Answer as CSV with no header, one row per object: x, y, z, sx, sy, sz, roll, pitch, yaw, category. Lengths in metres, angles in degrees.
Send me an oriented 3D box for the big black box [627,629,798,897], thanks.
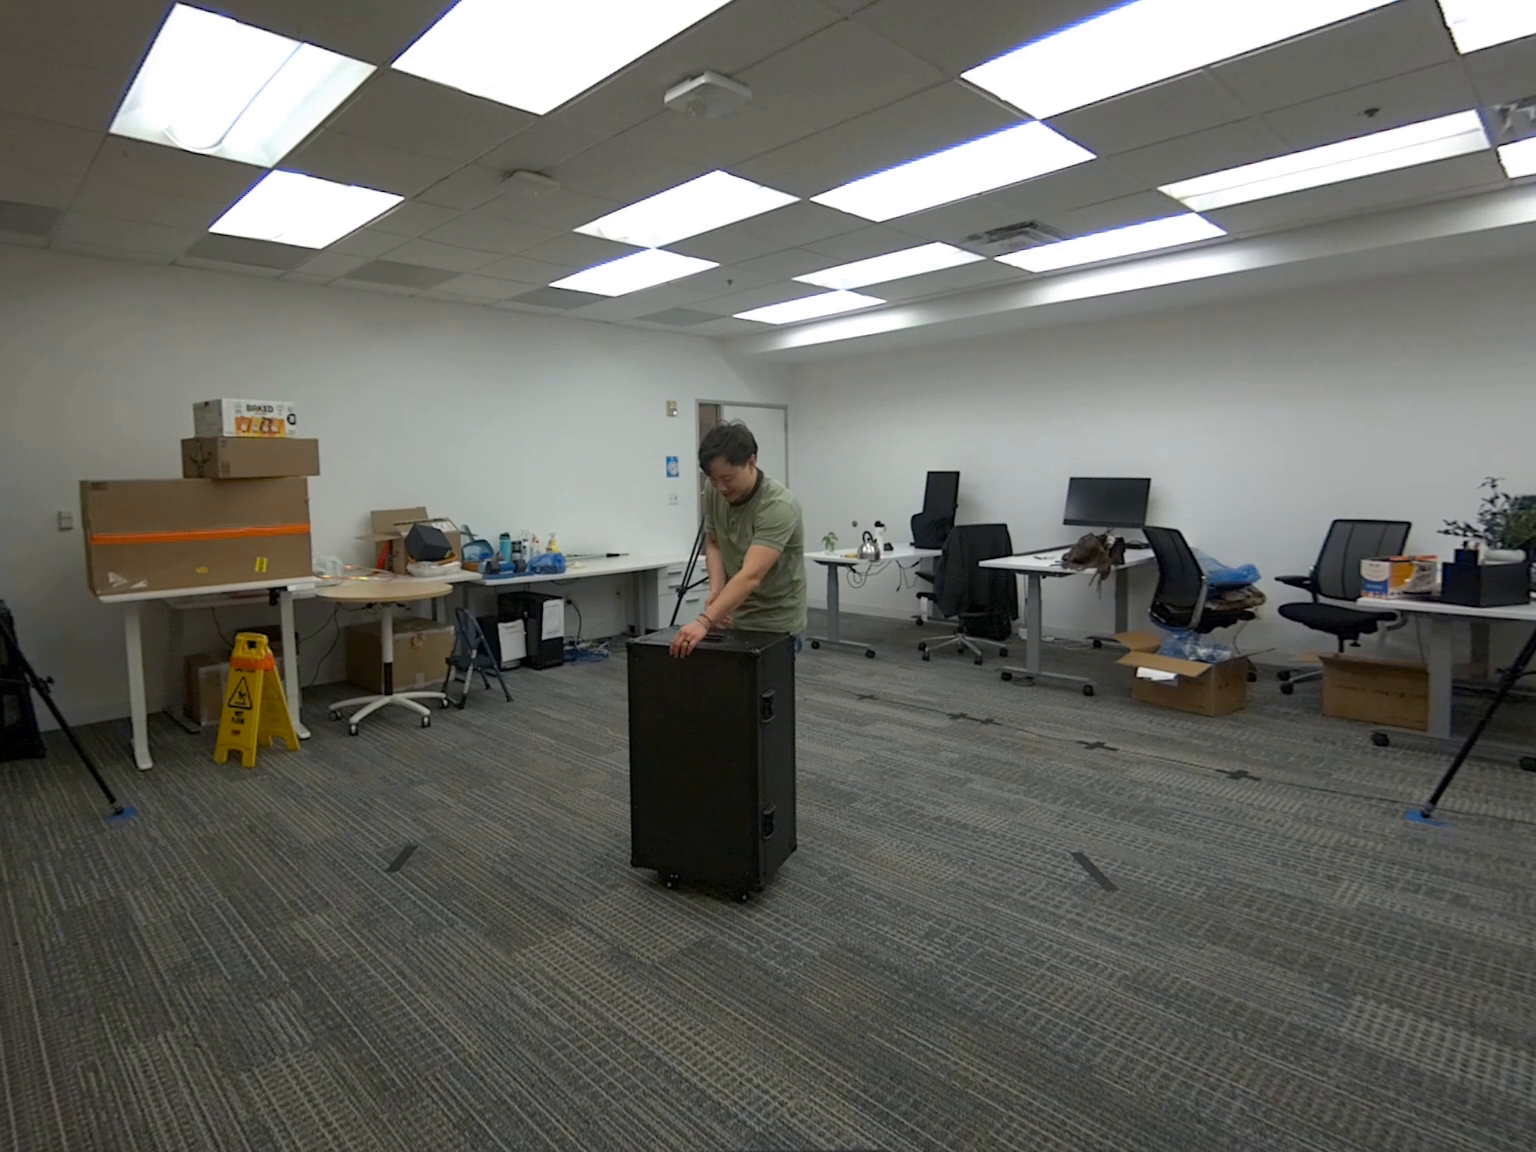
-0.189,0.633,2.985,0.533,0.859,0.389,1,4,24,big black box
